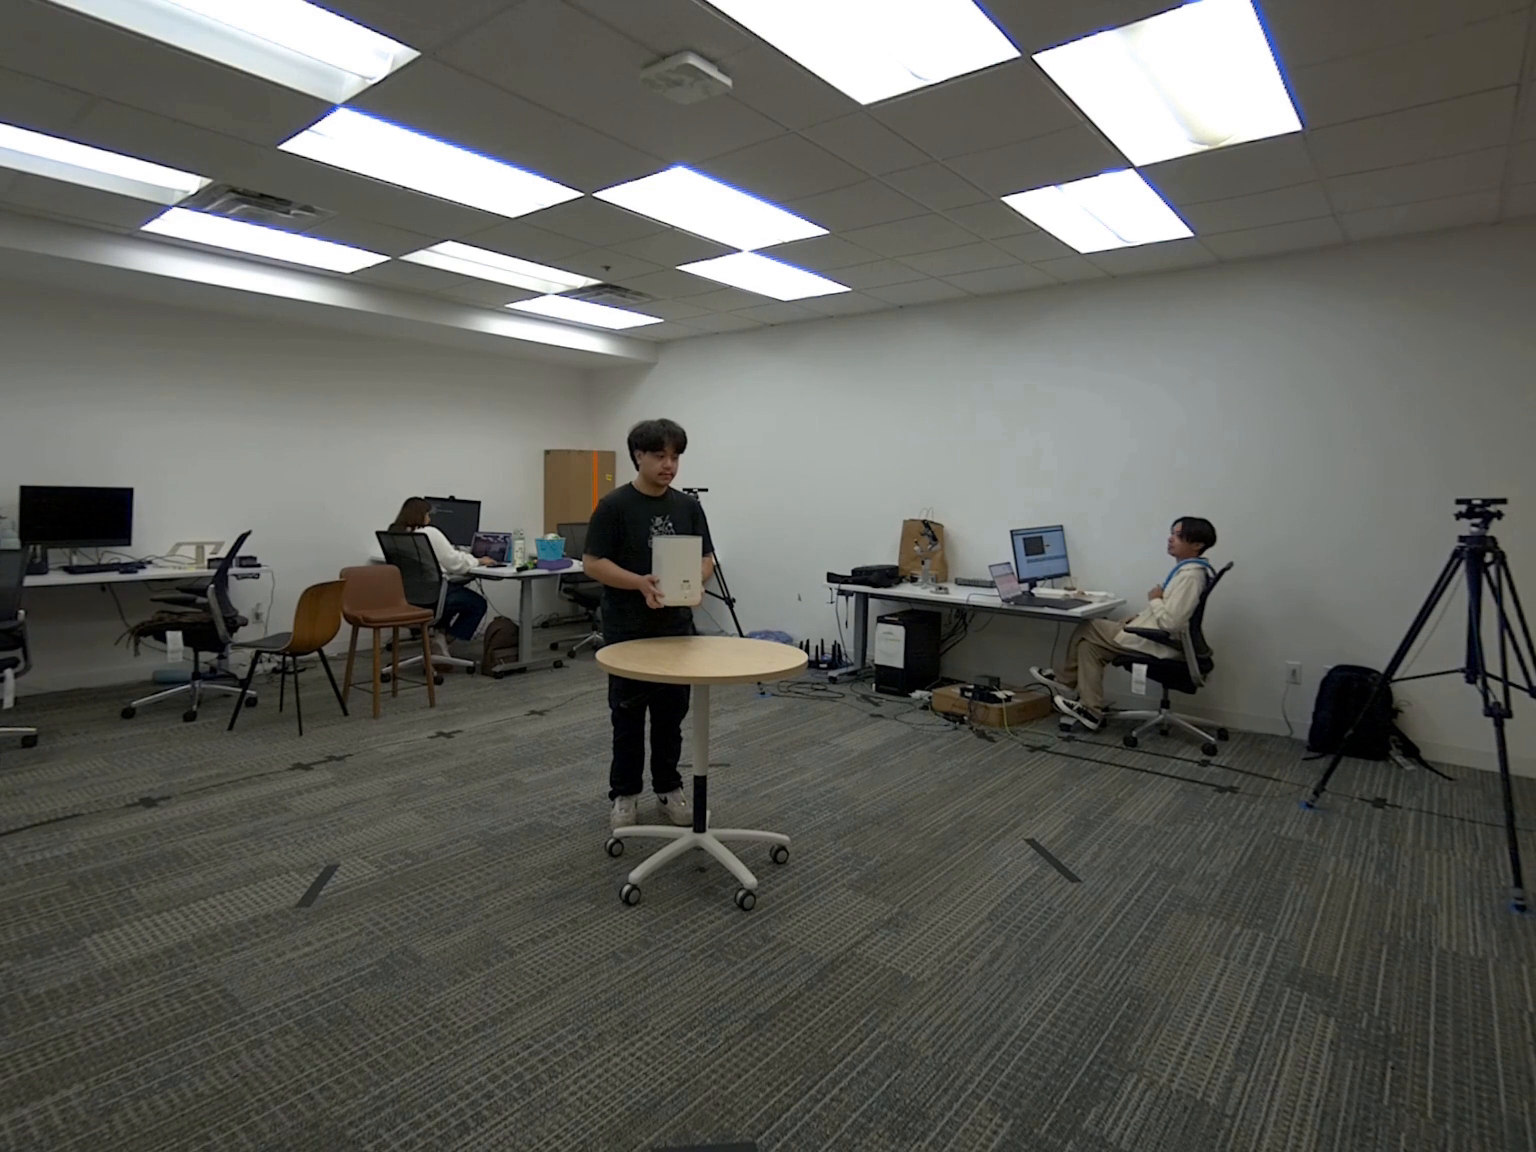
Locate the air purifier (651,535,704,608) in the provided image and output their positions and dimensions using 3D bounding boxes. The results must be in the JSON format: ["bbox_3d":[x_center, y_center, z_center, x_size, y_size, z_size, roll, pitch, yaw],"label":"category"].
[{"bbox_3d":[-0.358,-0.027,3.313,0.166,0.265,0.176,-1,2,-29],"label":"air purifier"}]
